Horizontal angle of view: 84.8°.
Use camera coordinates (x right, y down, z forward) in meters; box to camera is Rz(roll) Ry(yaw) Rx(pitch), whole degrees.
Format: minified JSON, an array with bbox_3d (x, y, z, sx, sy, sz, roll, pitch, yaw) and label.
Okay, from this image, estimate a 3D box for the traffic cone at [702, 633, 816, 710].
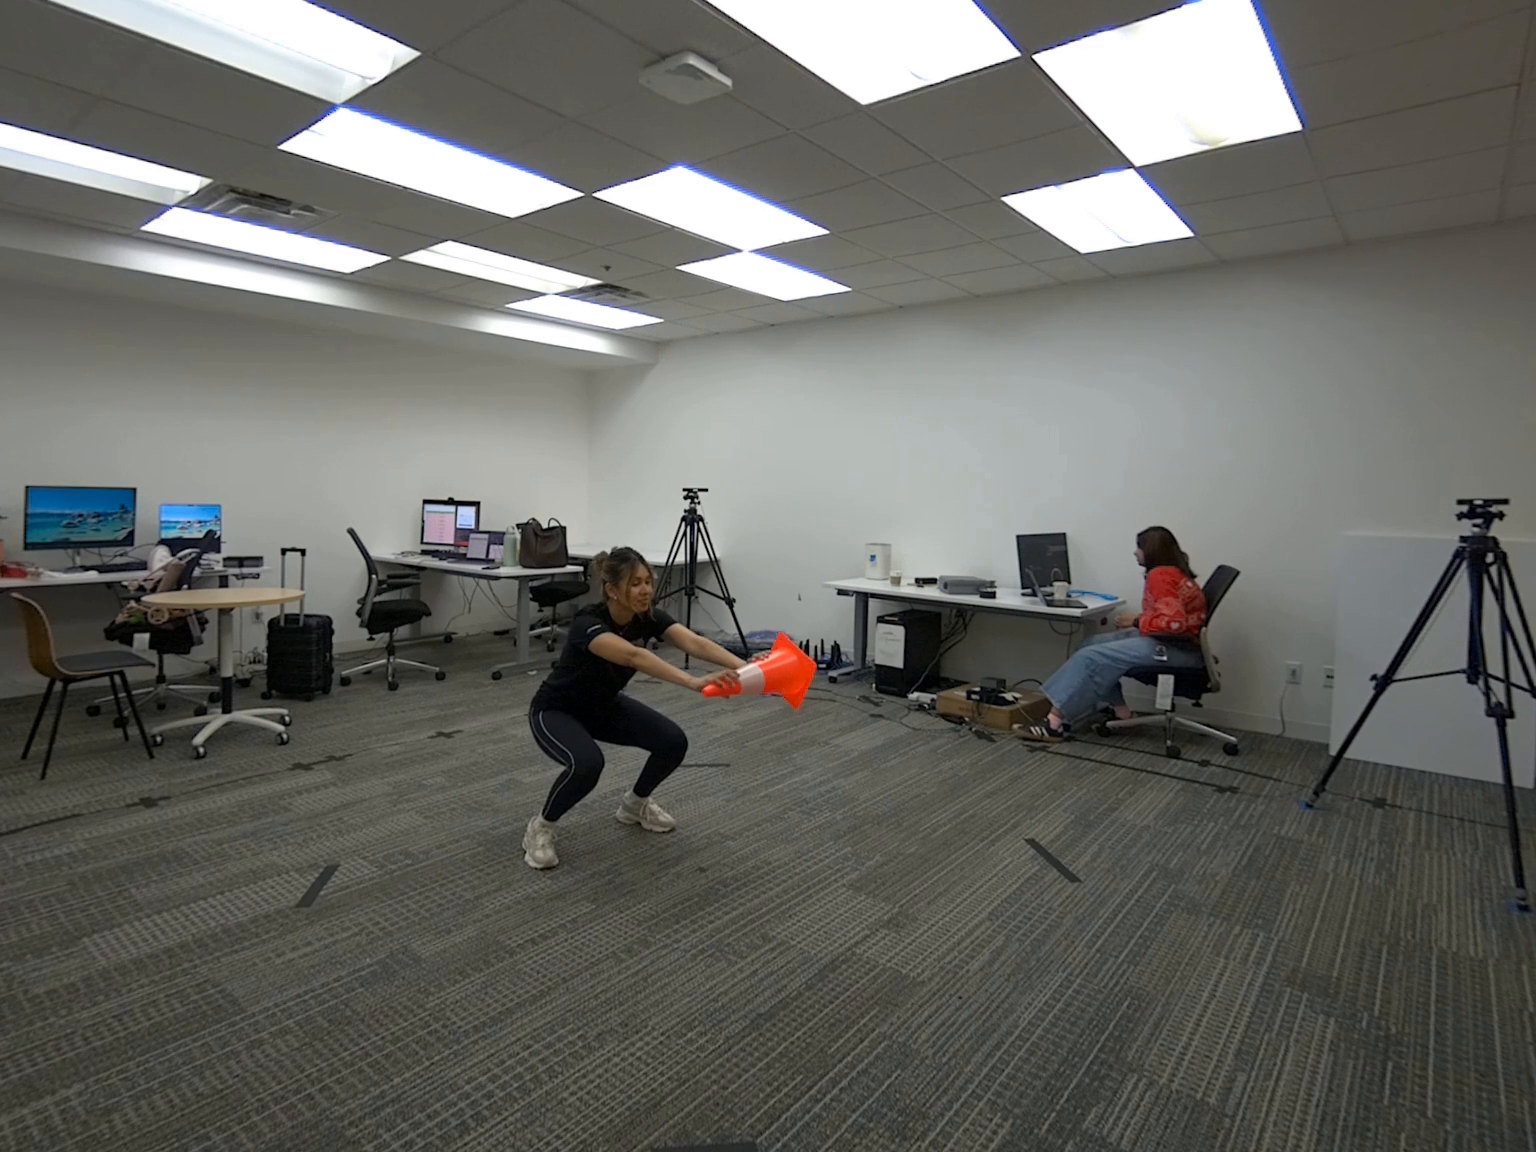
[{"bbox_3d":[-0.078,0.336,2.786,0.373,0.202,0.212,-10,39,-41],"label":"traffic cone"}]
